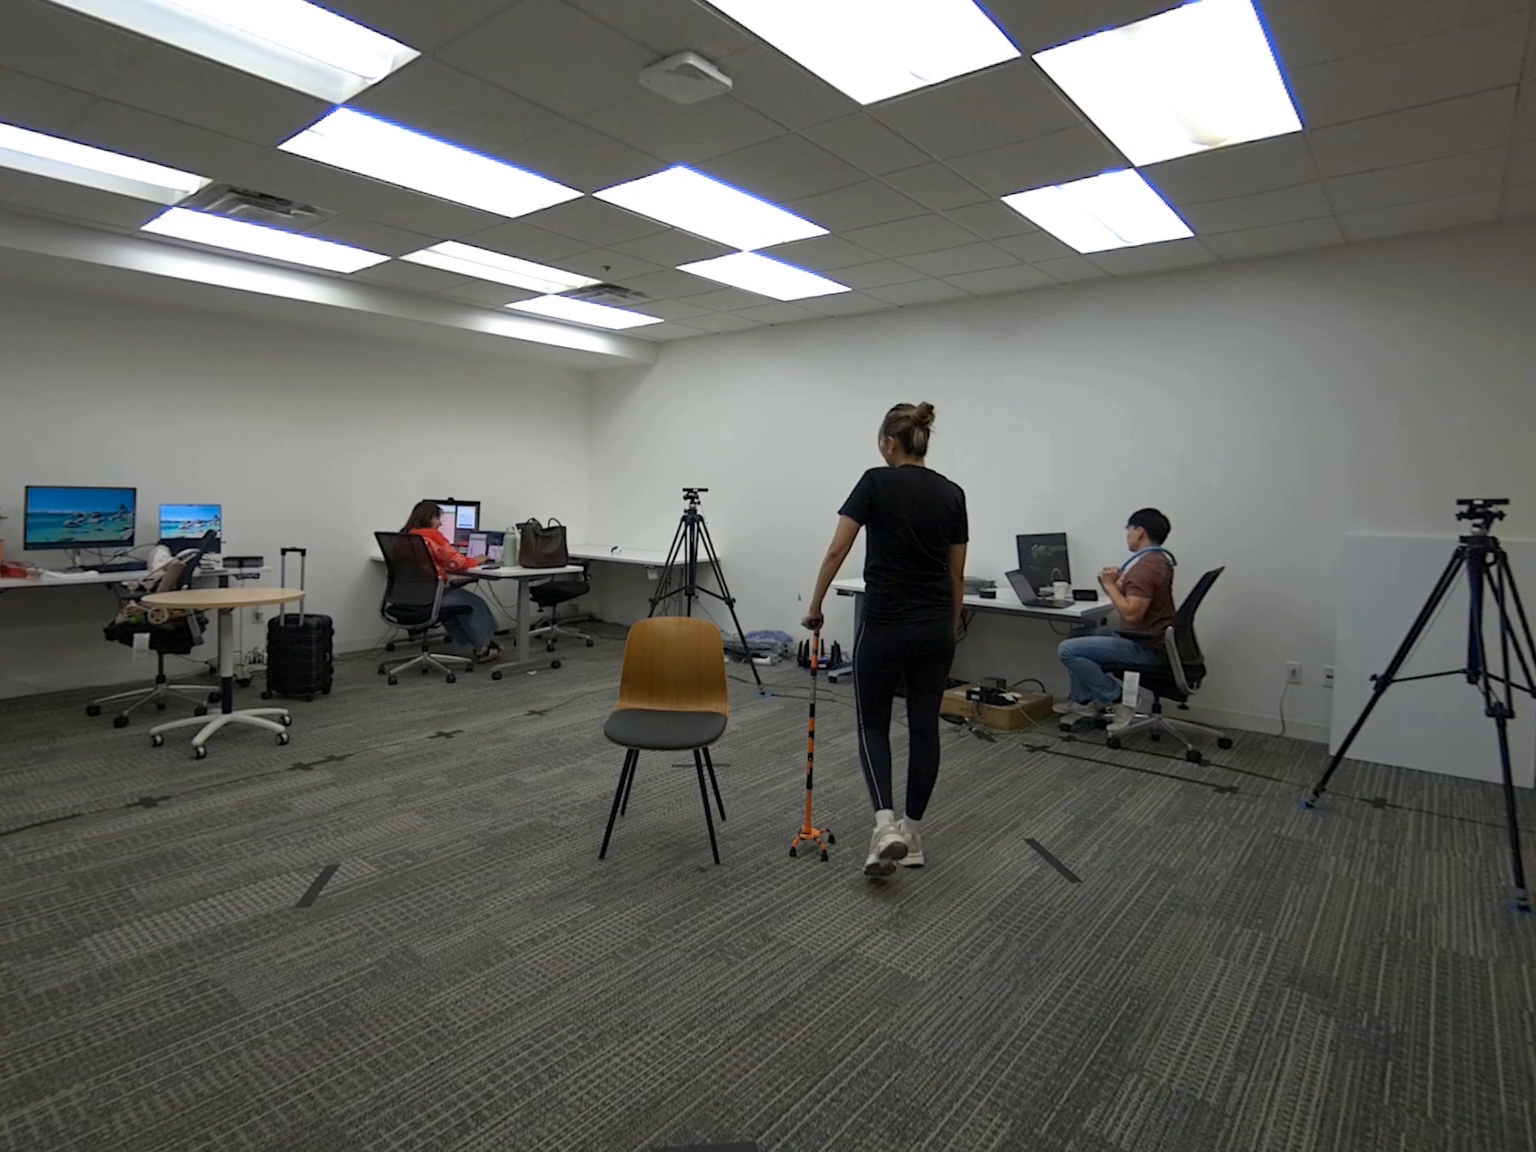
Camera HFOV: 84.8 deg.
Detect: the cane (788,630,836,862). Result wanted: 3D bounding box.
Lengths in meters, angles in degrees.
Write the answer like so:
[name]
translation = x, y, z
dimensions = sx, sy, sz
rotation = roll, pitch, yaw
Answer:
[cane]
translation = 0.171, 0.608, 3.296
dimensions = 0.153, 0.905, 0.204
rotation = 1, 3, 11
